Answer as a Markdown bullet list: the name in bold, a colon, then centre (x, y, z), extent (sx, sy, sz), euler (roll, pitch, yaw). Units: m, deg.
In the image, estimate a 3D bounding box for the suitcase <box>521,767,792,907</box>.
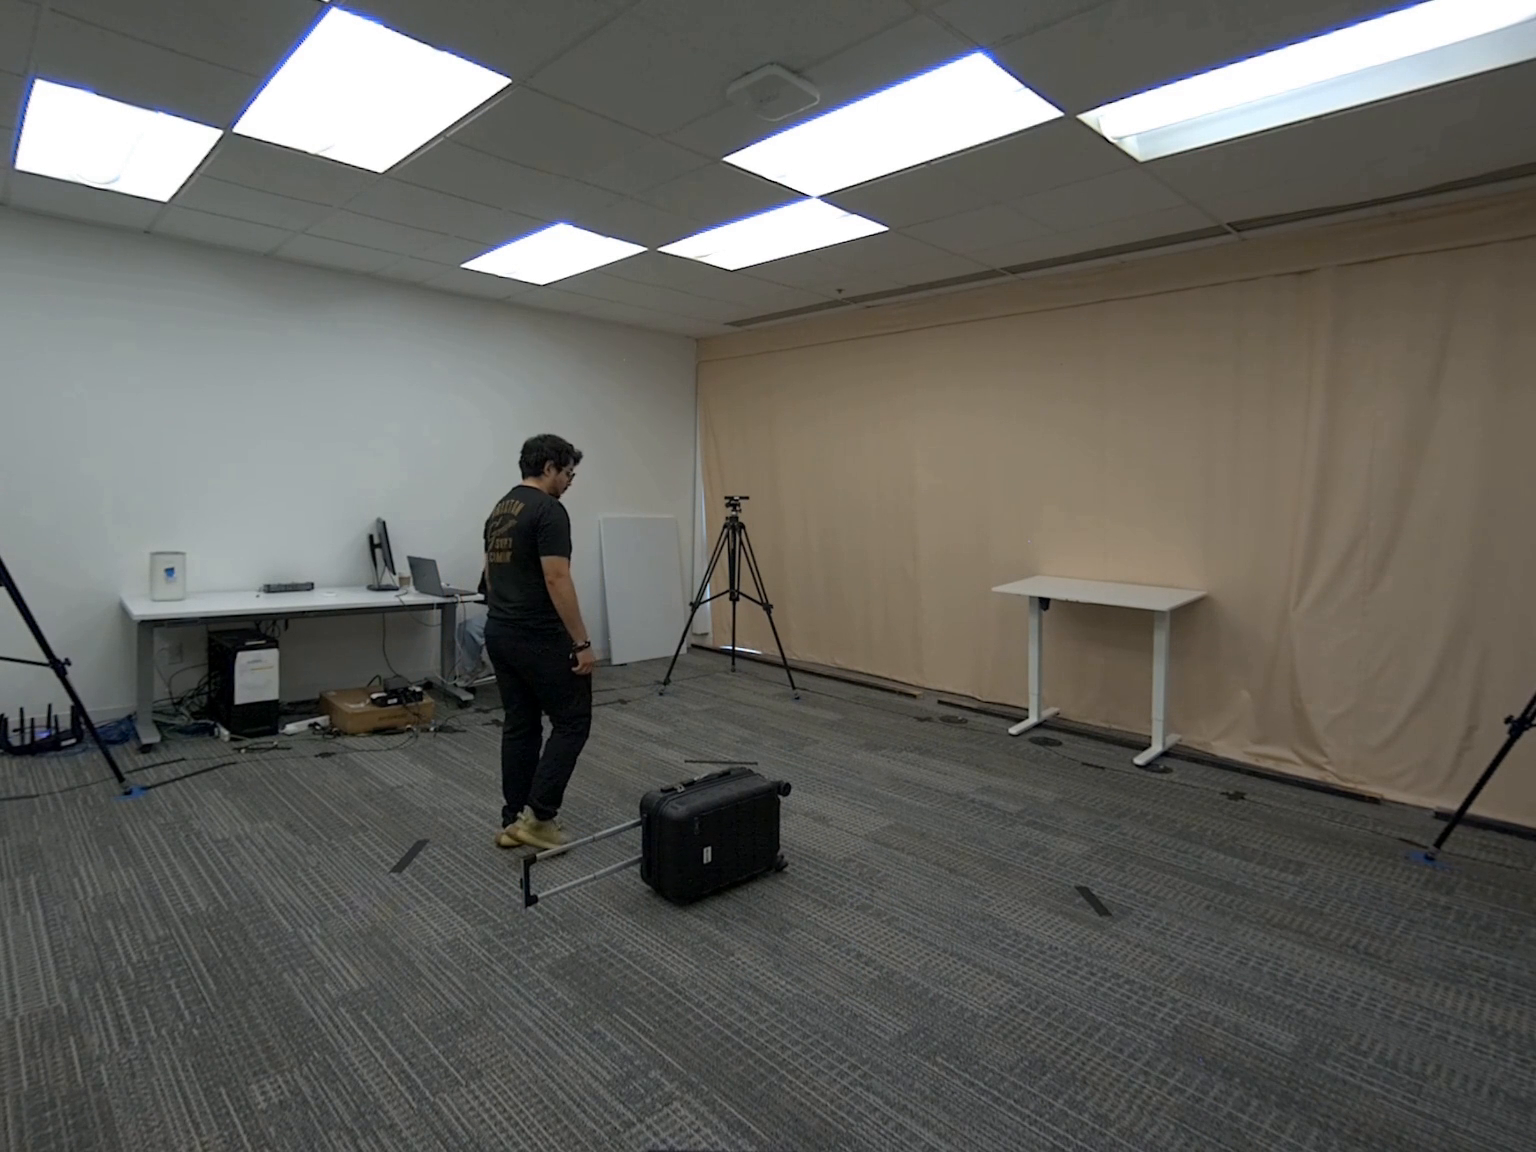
- **suitcase**: centre (-0.346, 0.932, 2.891), extent (0.957, 0.383, 0.264), euler (-4, 7, -44)
